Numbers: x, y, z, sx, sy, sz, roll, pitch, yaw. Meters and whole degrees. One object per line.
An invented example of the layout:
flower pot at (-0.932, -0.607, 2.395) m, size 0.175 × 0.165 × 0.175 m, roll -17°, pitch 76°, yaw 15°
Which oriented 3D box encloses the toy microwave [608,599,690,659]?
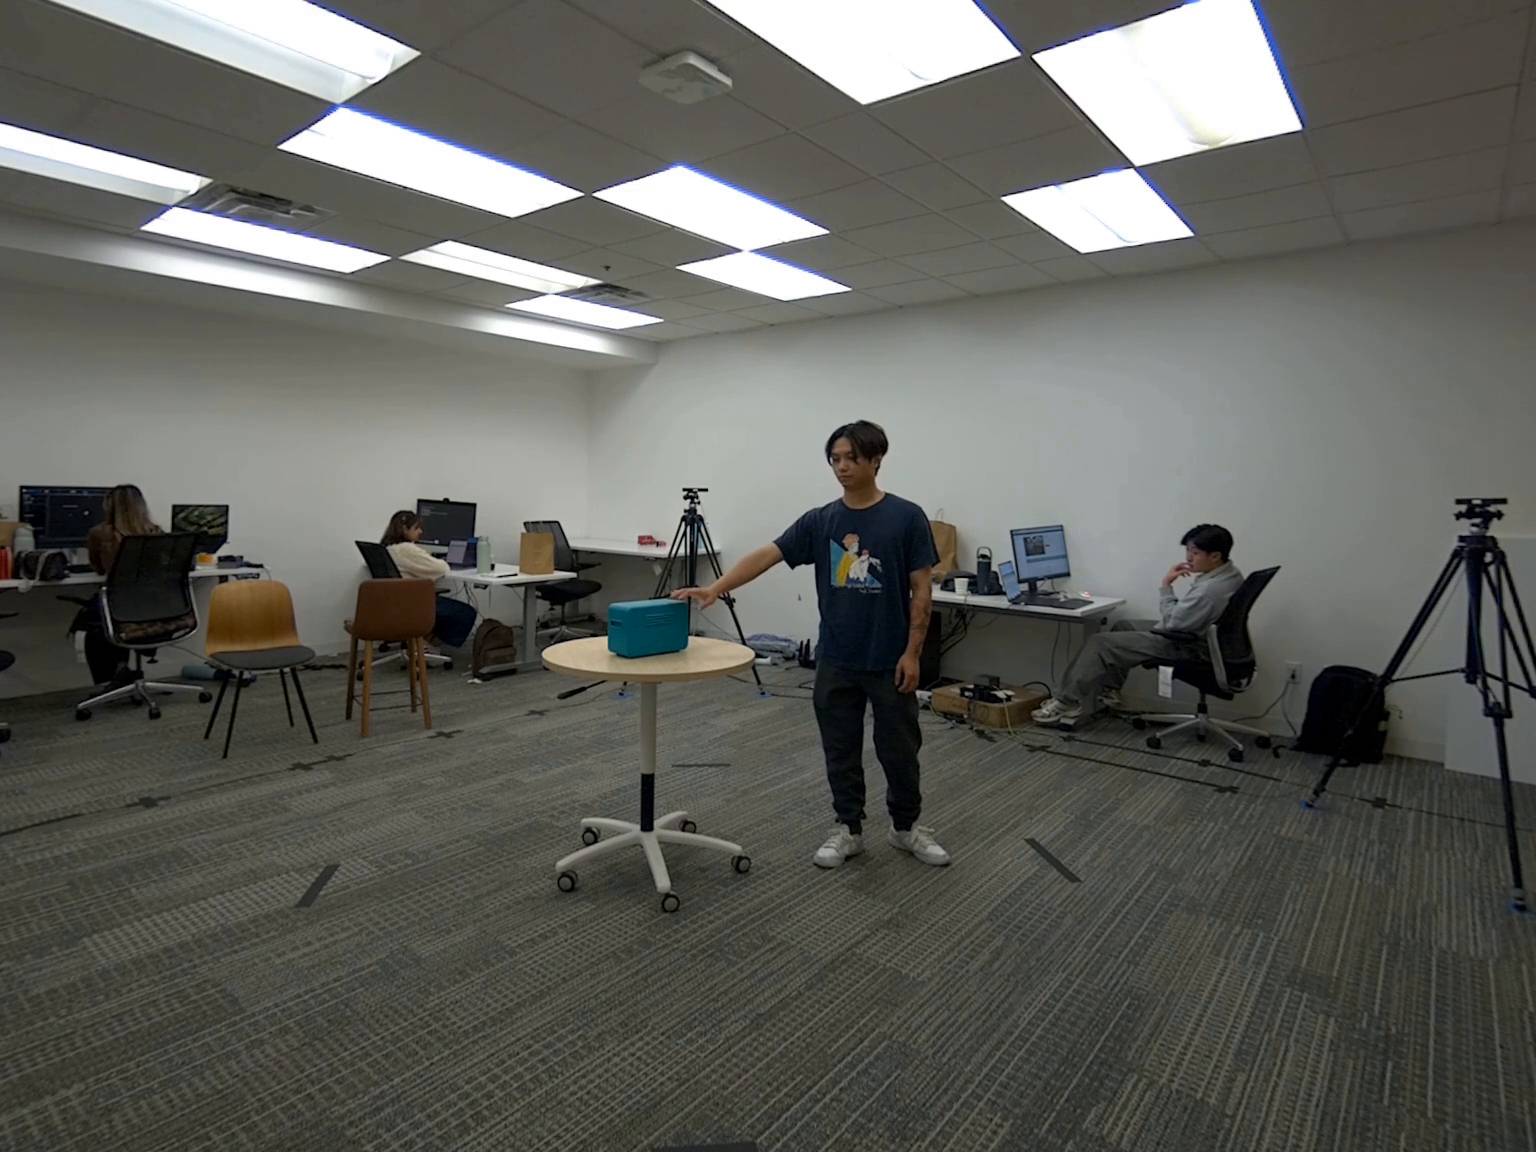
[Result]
toy microwave at (-0.445, 0.181, 3.069) m, size 0.277 × 0.183 × 0.157 m, roll -3°, pitch 6°, yaw -43°
